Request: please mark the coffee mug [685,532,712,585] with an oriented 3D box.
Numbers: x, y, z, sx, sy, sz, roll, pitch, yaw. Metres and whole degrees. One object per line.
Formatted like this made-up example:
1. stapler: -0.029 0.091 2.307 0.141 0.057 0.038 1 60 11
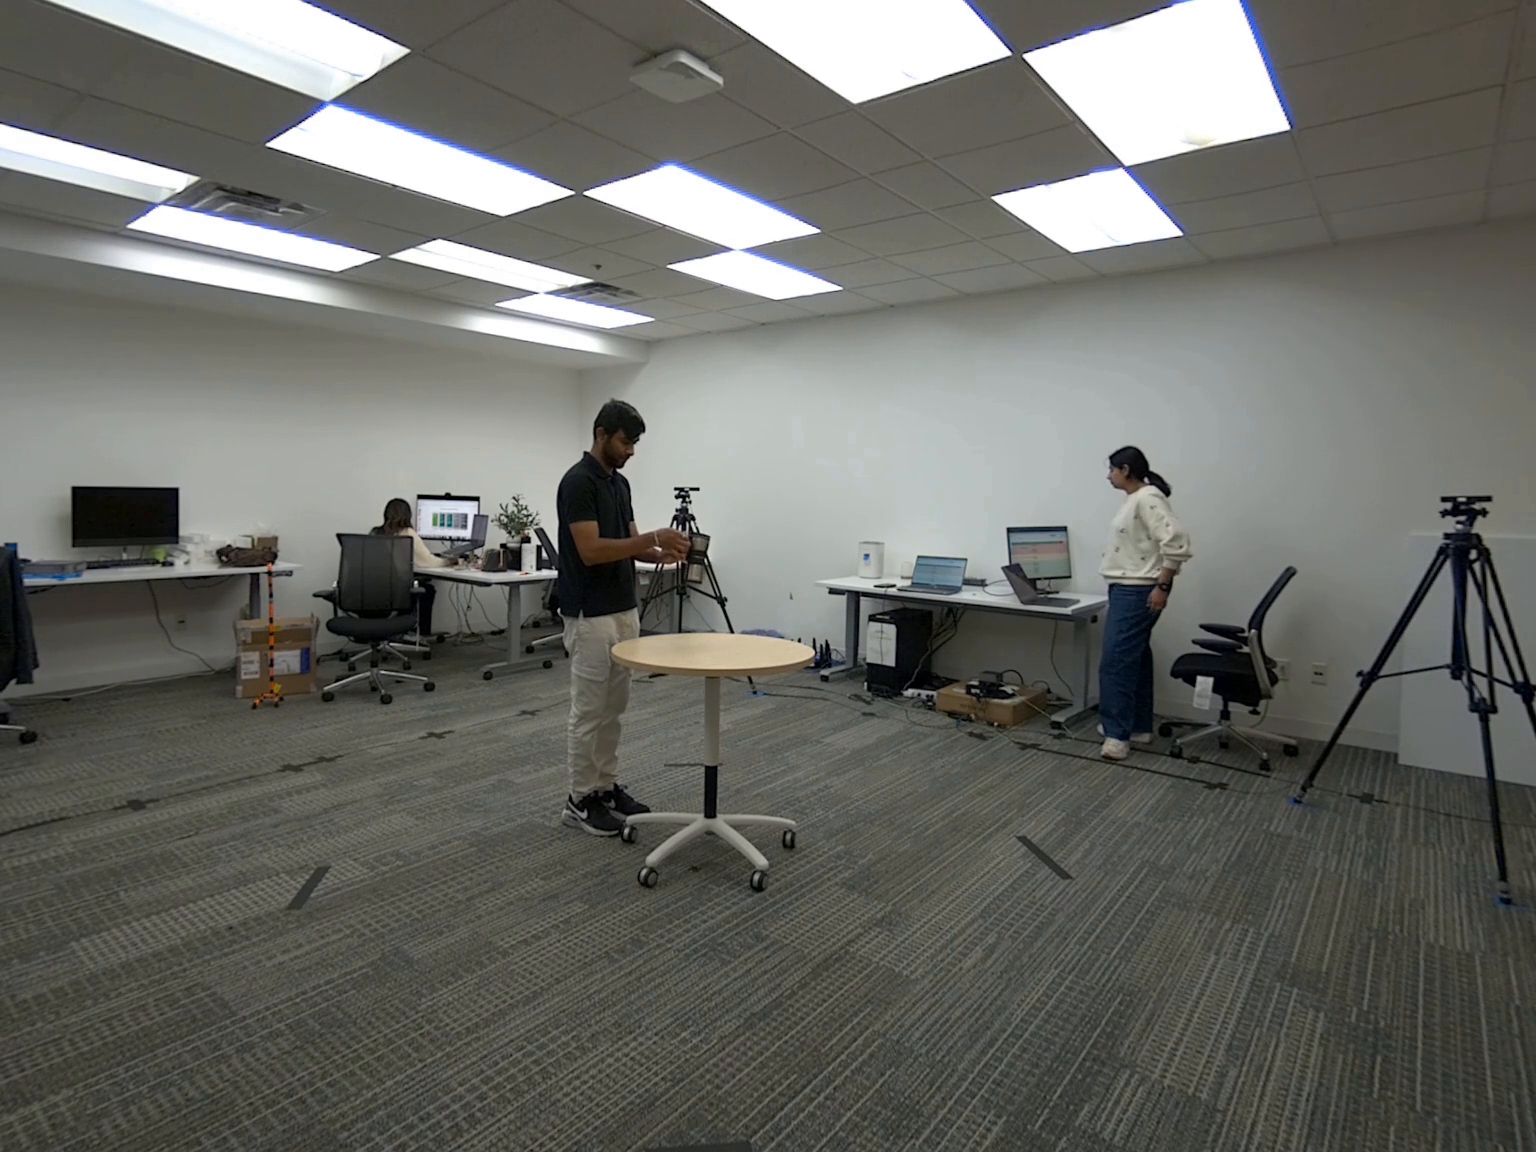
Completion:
1. coffee mug: -0.310 -0.074 3.399 0.126 0.202 0.085 9 4 36
